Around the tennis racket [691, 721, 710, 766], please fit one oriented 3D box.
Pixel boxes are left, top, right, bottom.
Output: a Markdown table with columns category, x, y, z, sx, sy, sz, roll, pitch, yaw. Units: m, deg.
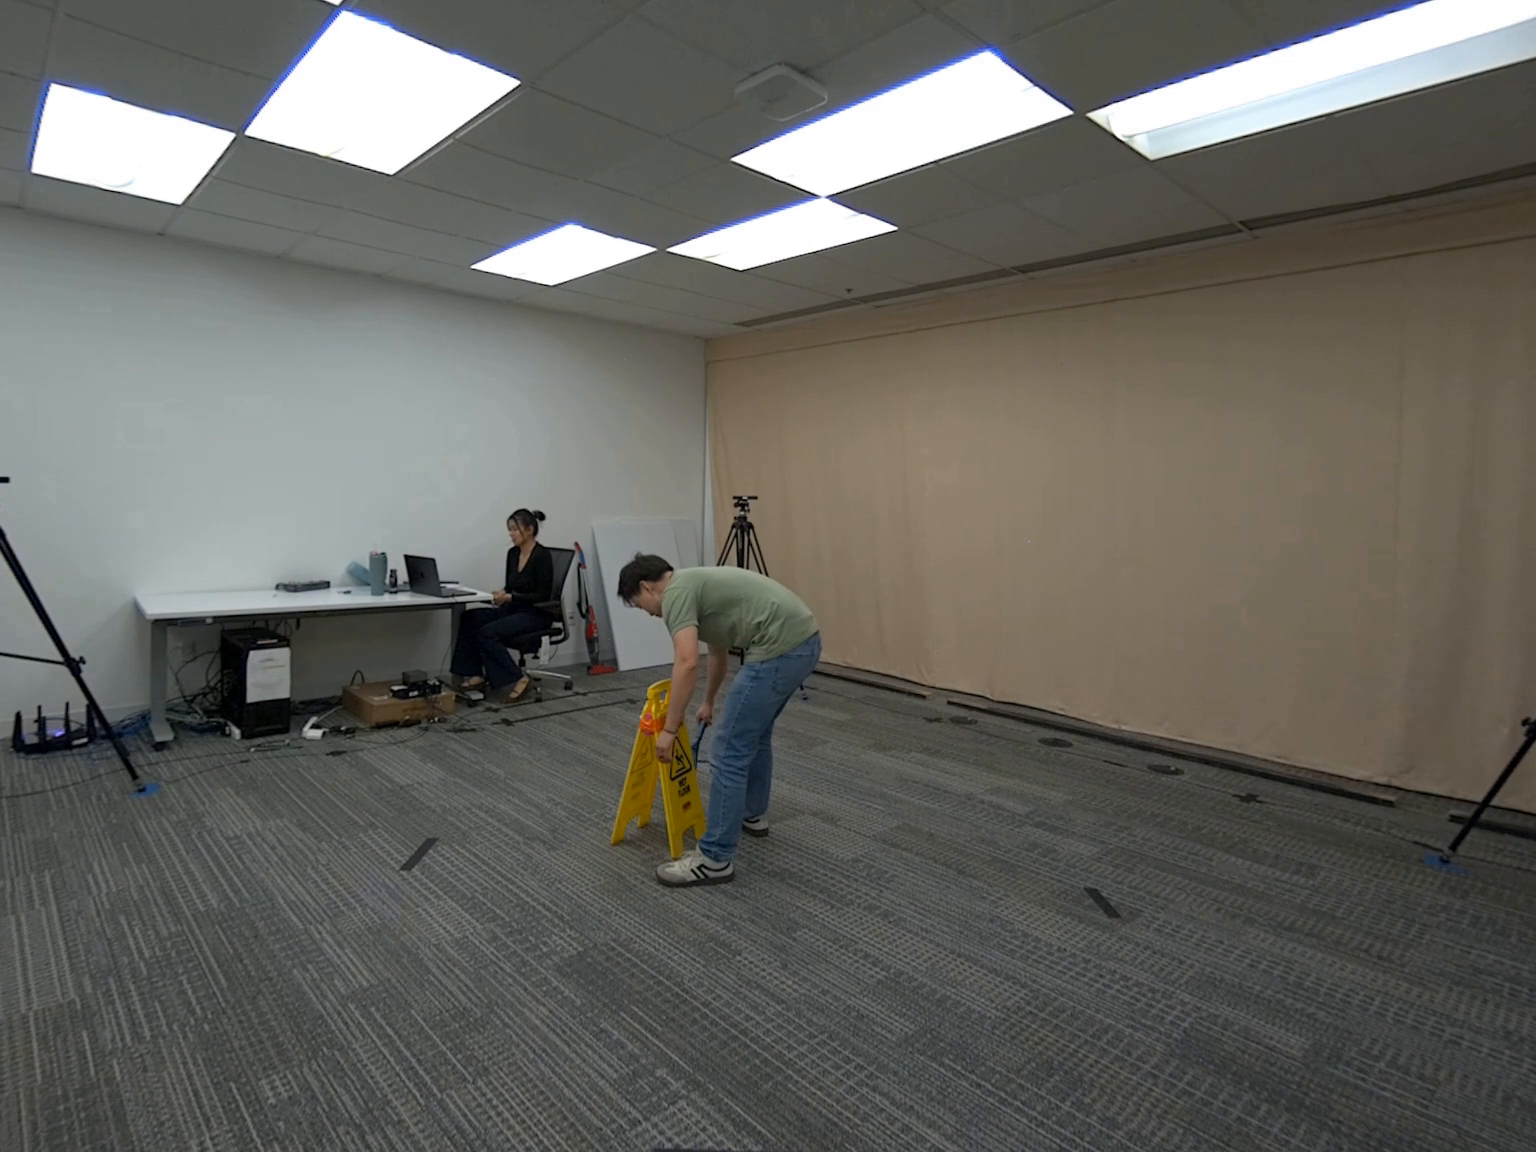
| category | x | y | z | sx | sy | sz | roll | pitch | yaw |
| --- | --- | --- | --- | --- | --- | --- | --- | --- | --- |
| tennis racket | -0.332 | 0.799 | 3.612 | 0.032 | 0.441 | 0.209 | 1 | -33 | 5 |
